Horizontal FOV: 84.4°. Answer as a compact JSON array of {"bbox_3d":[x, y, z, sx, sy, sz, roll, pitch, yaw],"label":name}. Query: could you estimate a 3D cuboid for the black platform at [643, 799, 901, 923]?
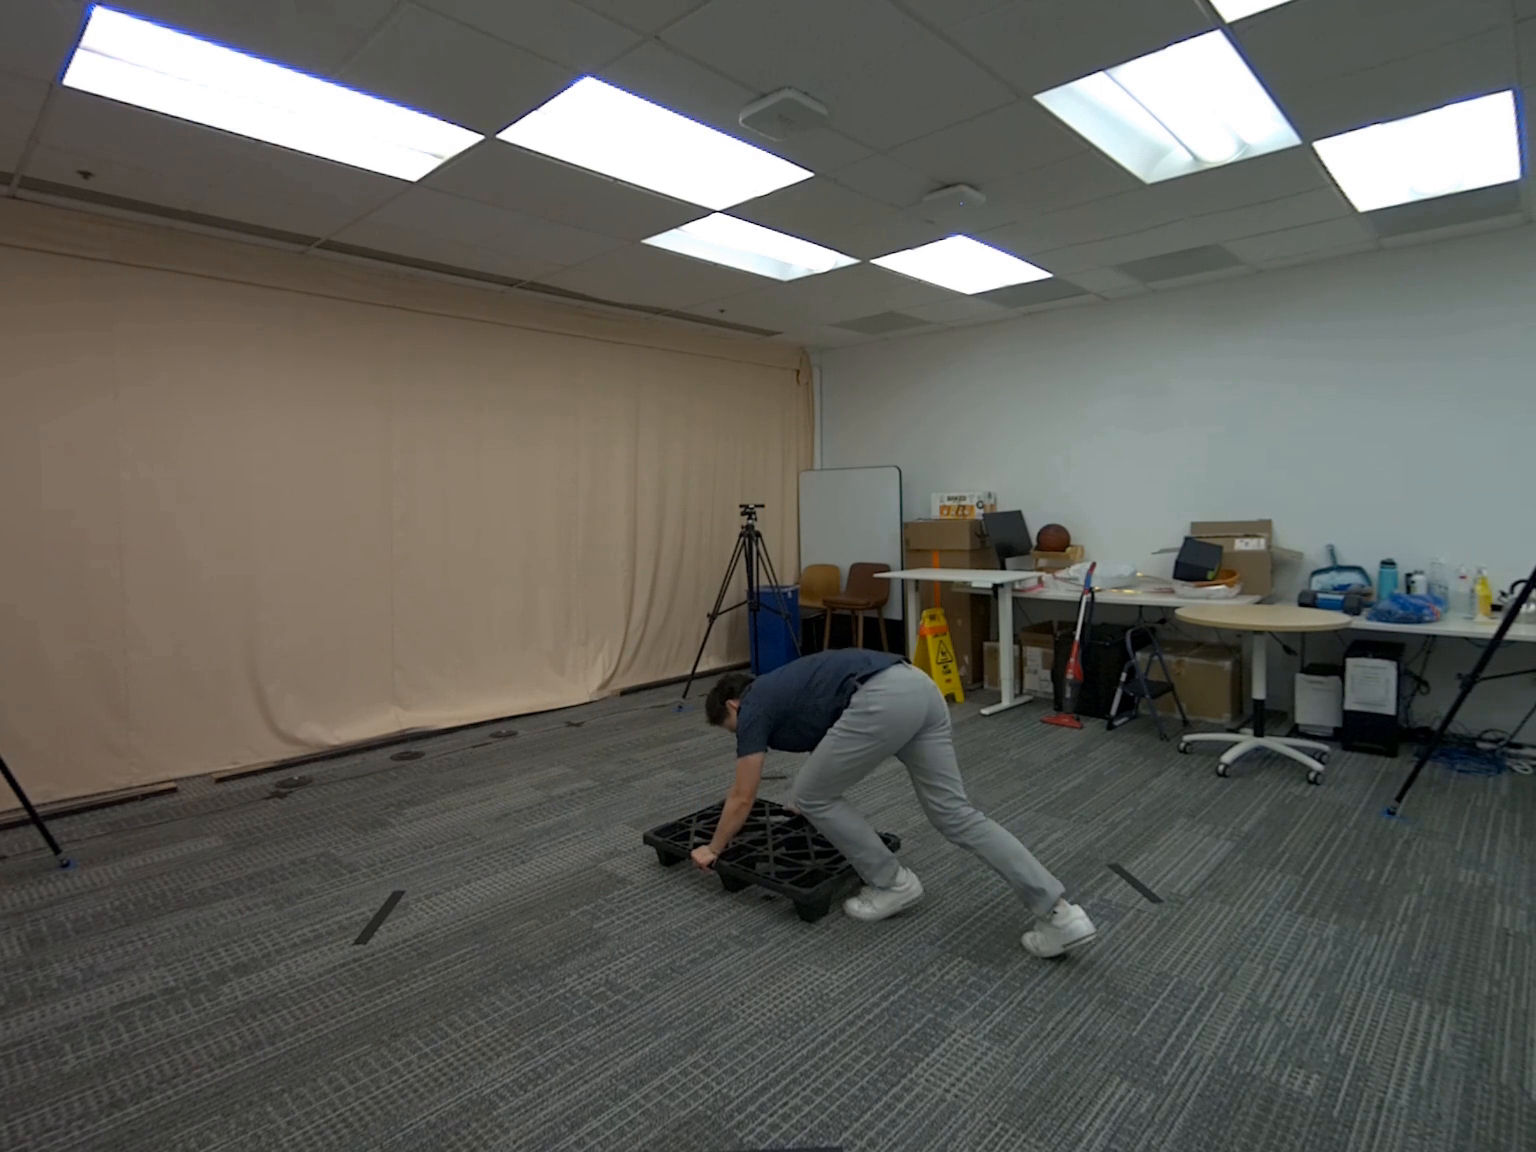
[{"bbox_3d":[0.008,1.054,3.209,0.832,0.143,0.587,3,6,41],"label":"black platform"}]
